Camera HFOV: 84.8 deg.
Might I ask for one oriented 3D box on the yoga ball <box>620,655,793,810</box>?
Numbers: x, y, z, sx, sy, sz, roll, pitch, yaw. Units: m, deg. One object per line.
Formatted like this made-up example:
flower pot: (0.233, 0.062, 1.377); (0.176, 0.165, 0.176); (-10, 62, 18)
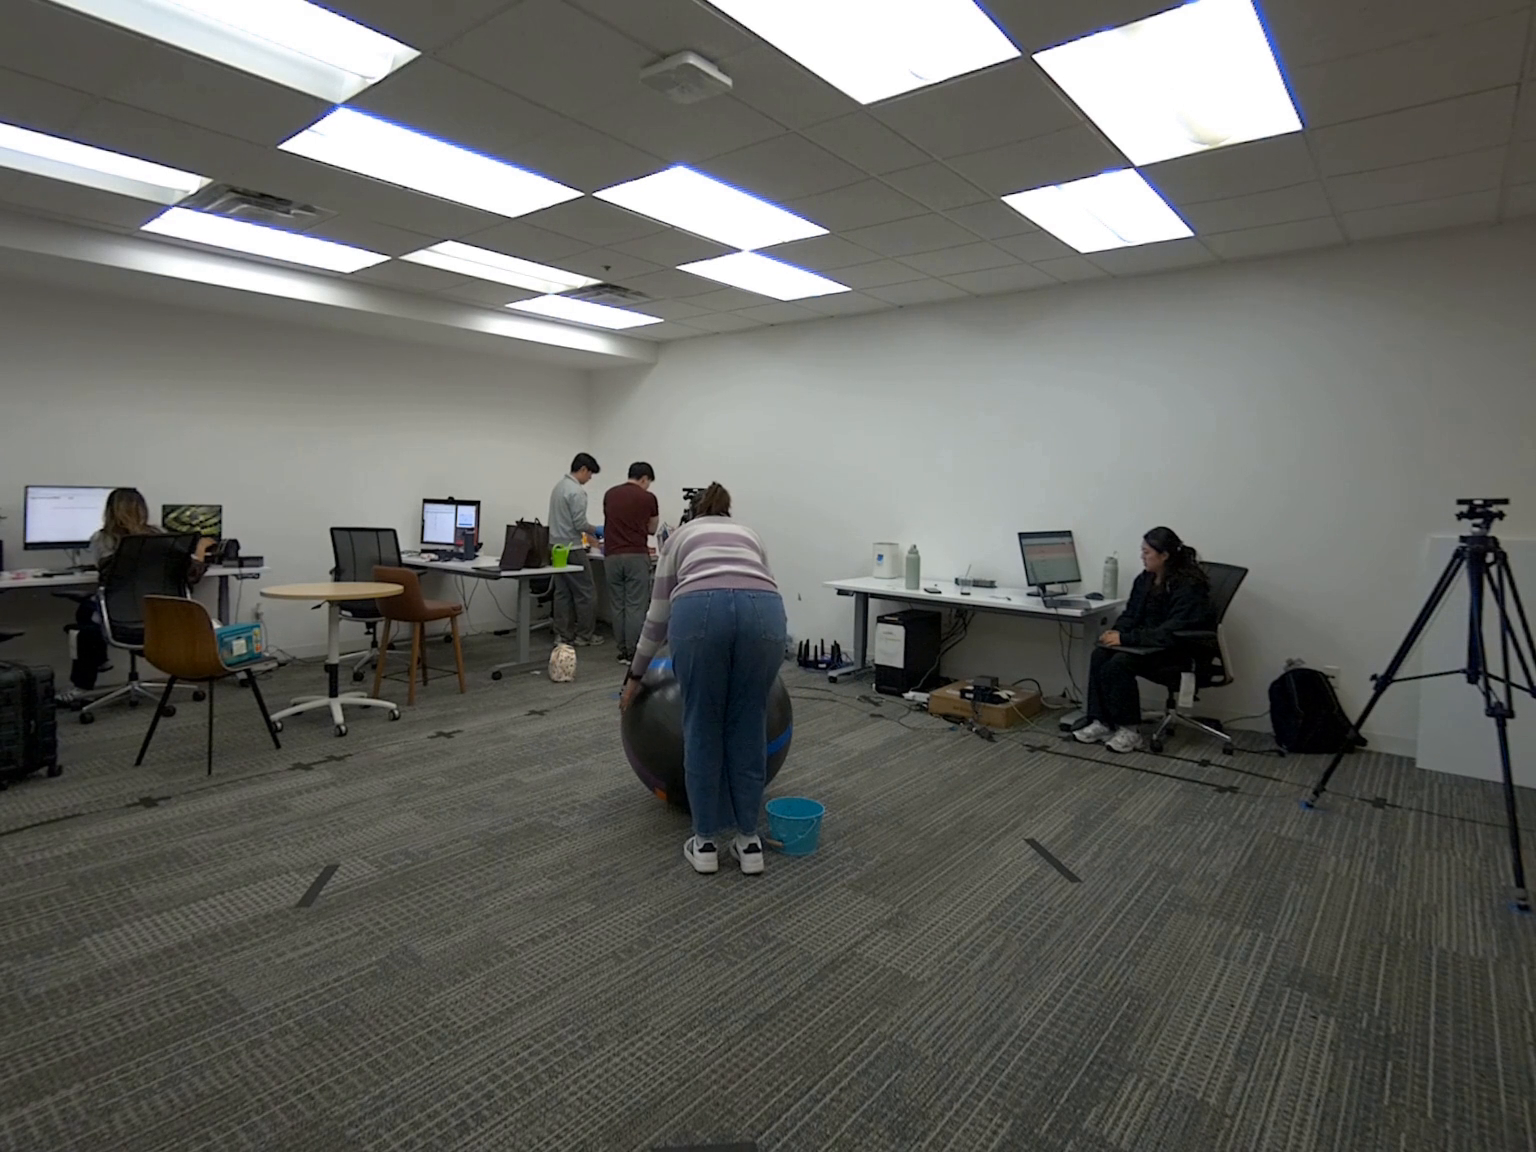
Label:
yoga ball: (-0.271, 0.636, 3.750); (0.757, 0.756, 0.762); (1, 4, -2)
